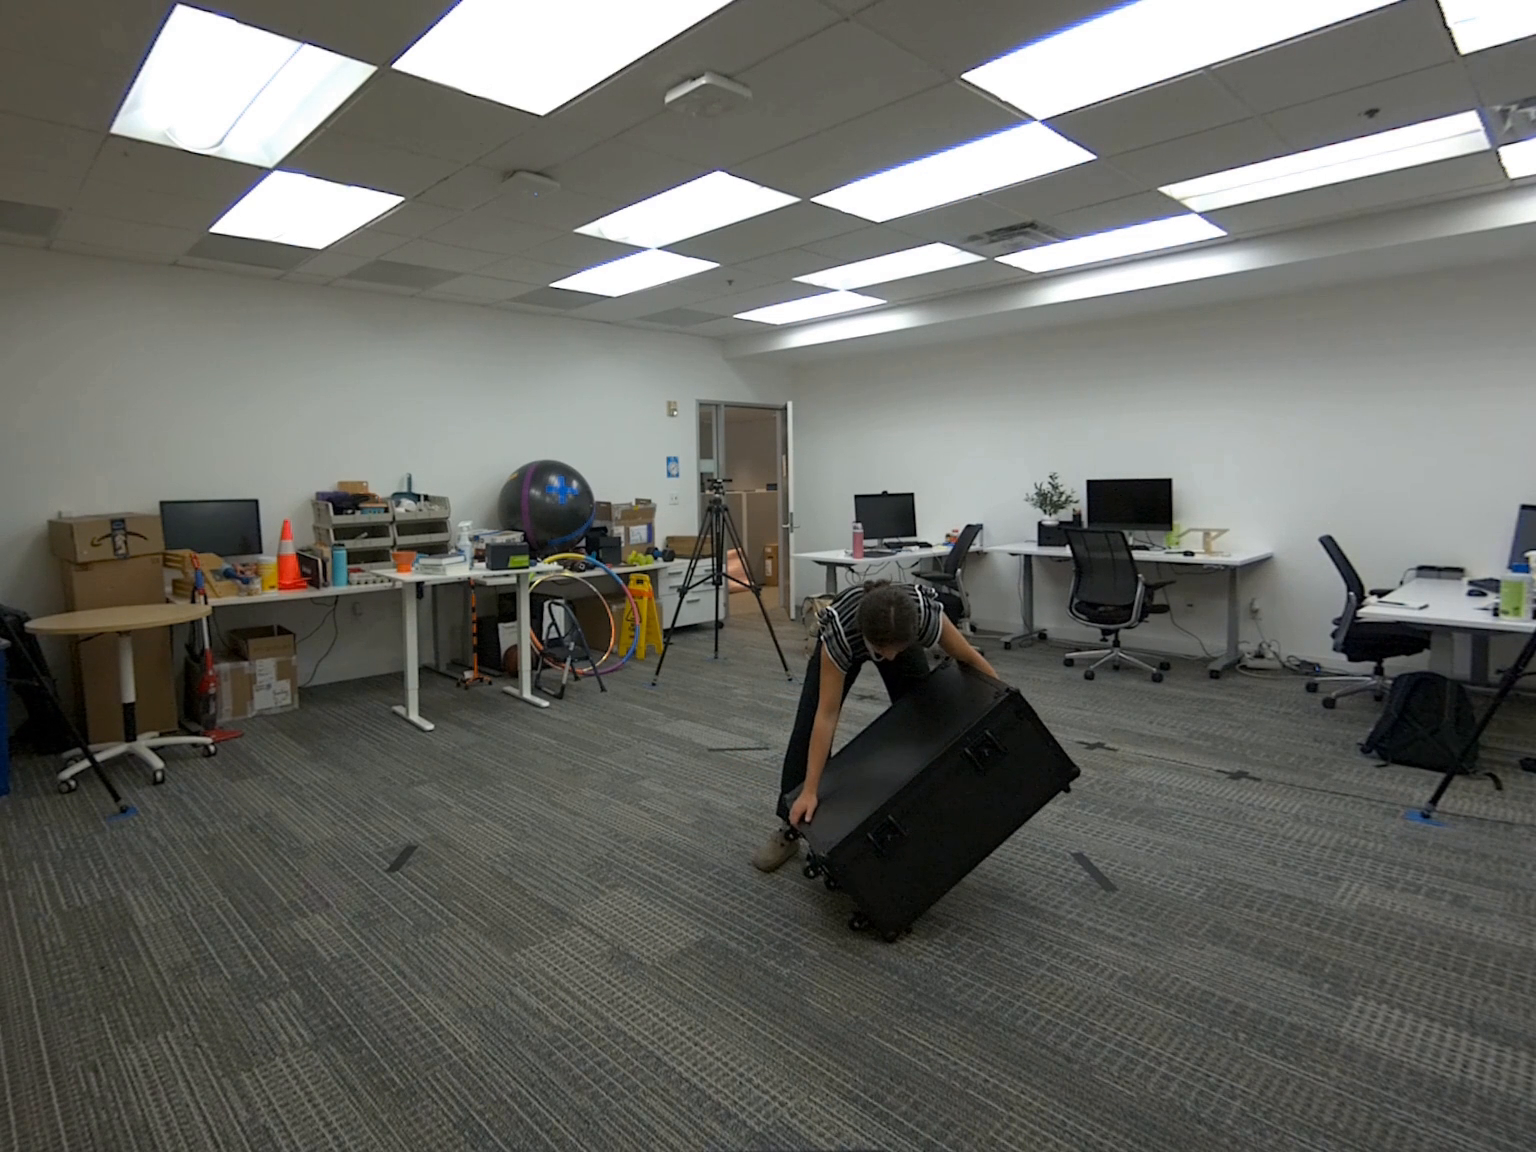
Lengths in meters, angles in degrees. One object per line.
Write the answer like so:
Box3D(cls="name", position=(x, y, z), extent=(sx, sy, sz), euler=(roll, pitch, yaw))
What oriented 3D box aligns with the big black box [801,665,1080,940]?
Box3D(cls="big black box", position=(0.495, 0.719, 2.781), extent=(0.860, 0.392, 0.527), euler=(-40, 9, -6))
